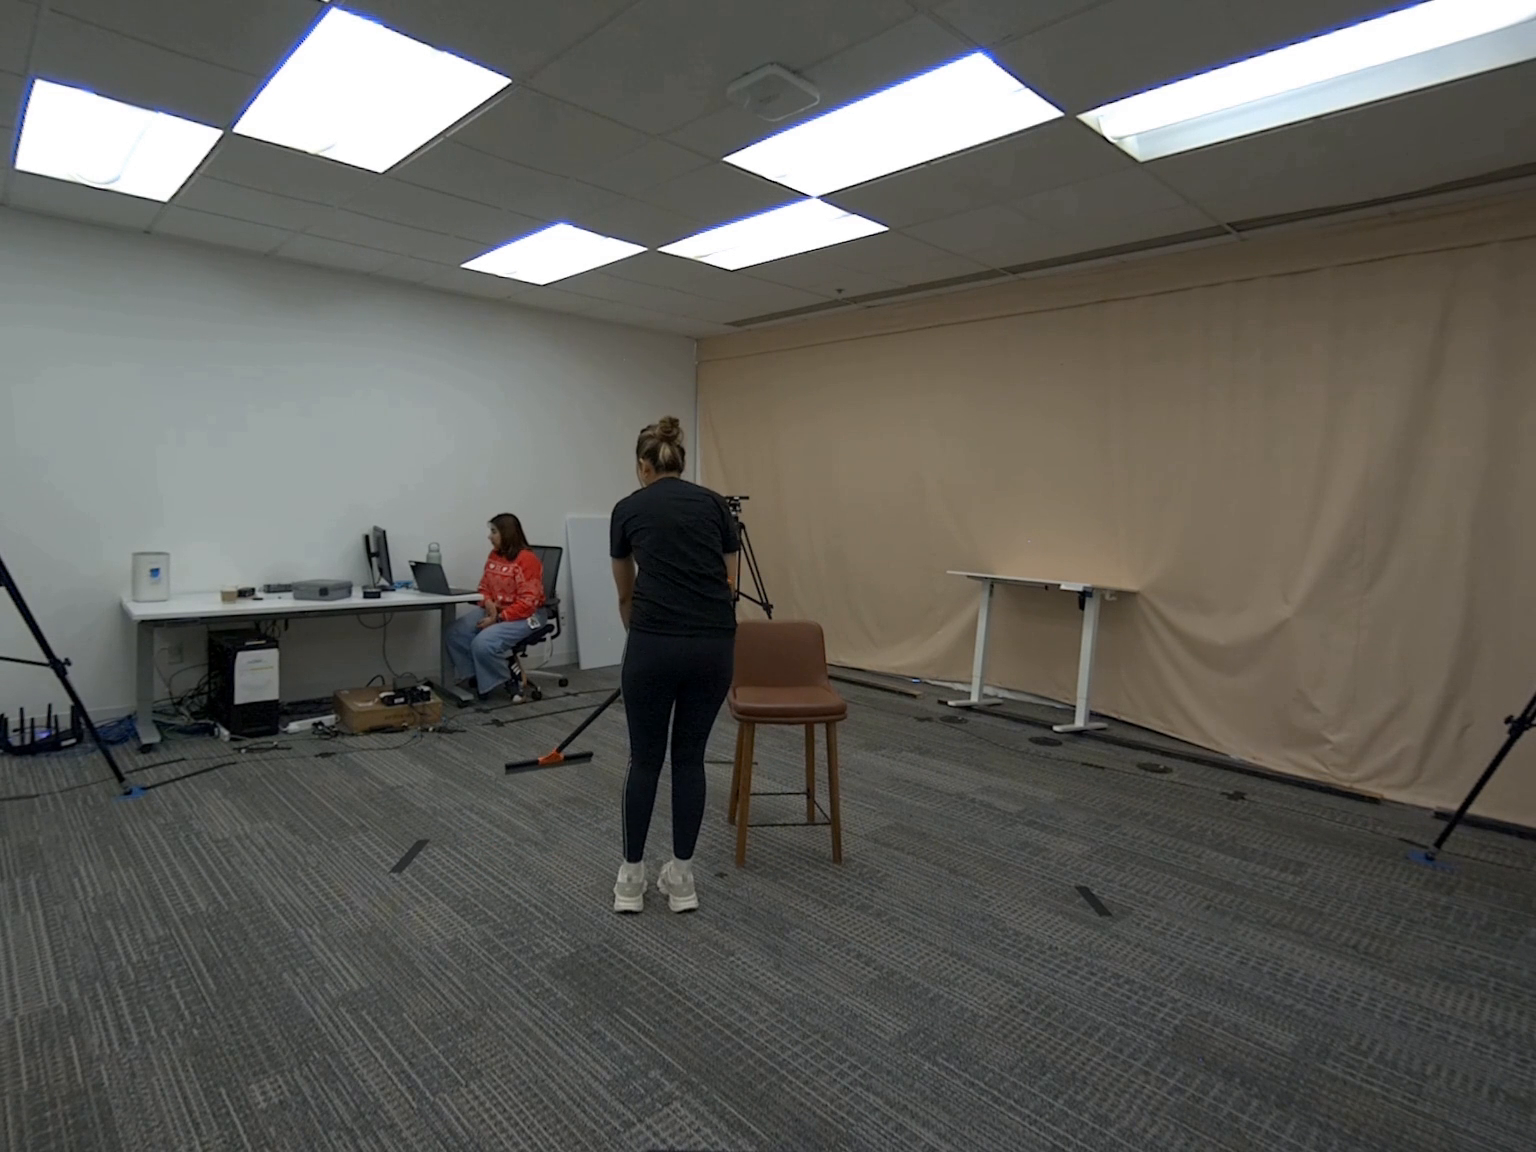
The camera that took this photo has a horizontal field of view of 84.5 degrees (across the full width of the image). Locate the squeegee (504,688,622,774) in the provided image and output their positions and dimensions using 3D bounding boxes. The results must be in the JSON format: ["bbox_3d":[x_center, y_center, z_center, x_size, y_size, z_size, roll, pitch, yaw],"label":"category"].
[{"bbox_3d":[-0.568,0.432,3.341,0.427,0.054,1.539,3,-35,-41],"label":"squeegee"}]
